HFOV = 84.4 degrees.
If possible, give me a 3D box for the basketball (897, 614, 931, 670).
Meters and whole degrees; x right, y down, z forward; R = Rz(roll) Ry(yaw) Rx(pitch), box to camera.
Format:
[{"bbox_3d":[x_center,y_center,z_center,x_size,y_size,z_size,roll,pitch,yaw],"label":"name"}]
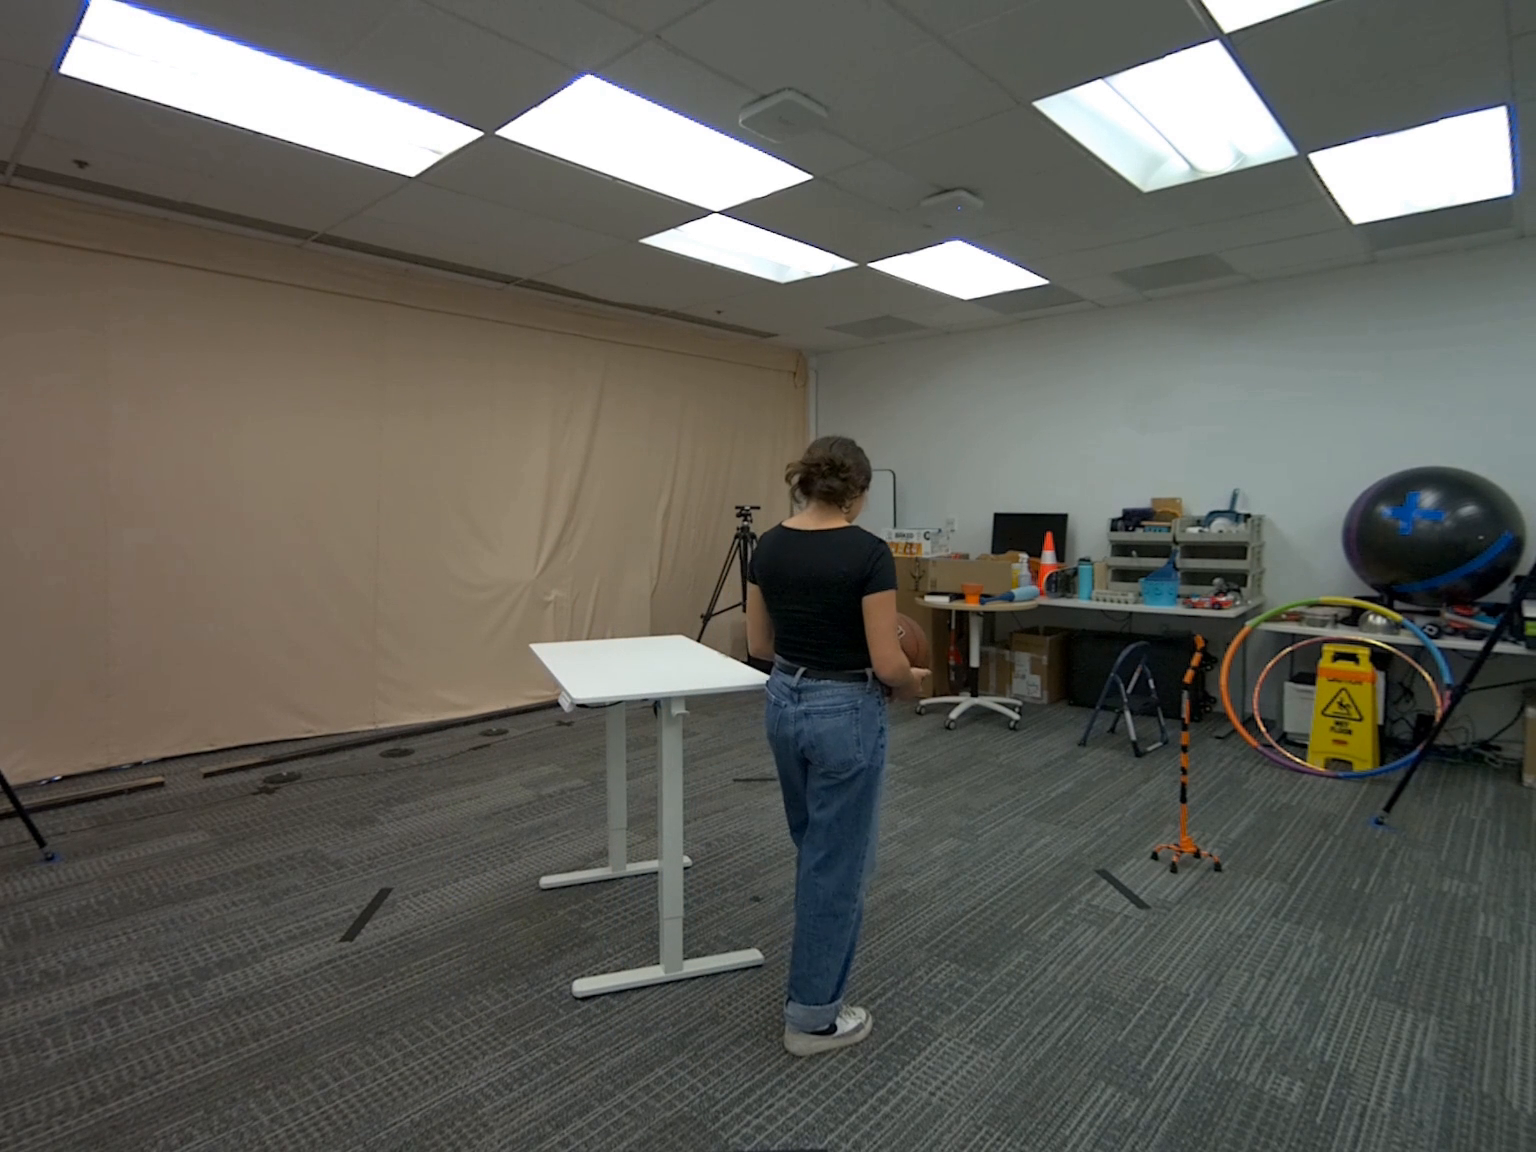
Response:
[{"bbox_3d":[0.339,0.216,2.338,0.236,0.235,0.237,0,4,-2],"label":"basketball"}]
